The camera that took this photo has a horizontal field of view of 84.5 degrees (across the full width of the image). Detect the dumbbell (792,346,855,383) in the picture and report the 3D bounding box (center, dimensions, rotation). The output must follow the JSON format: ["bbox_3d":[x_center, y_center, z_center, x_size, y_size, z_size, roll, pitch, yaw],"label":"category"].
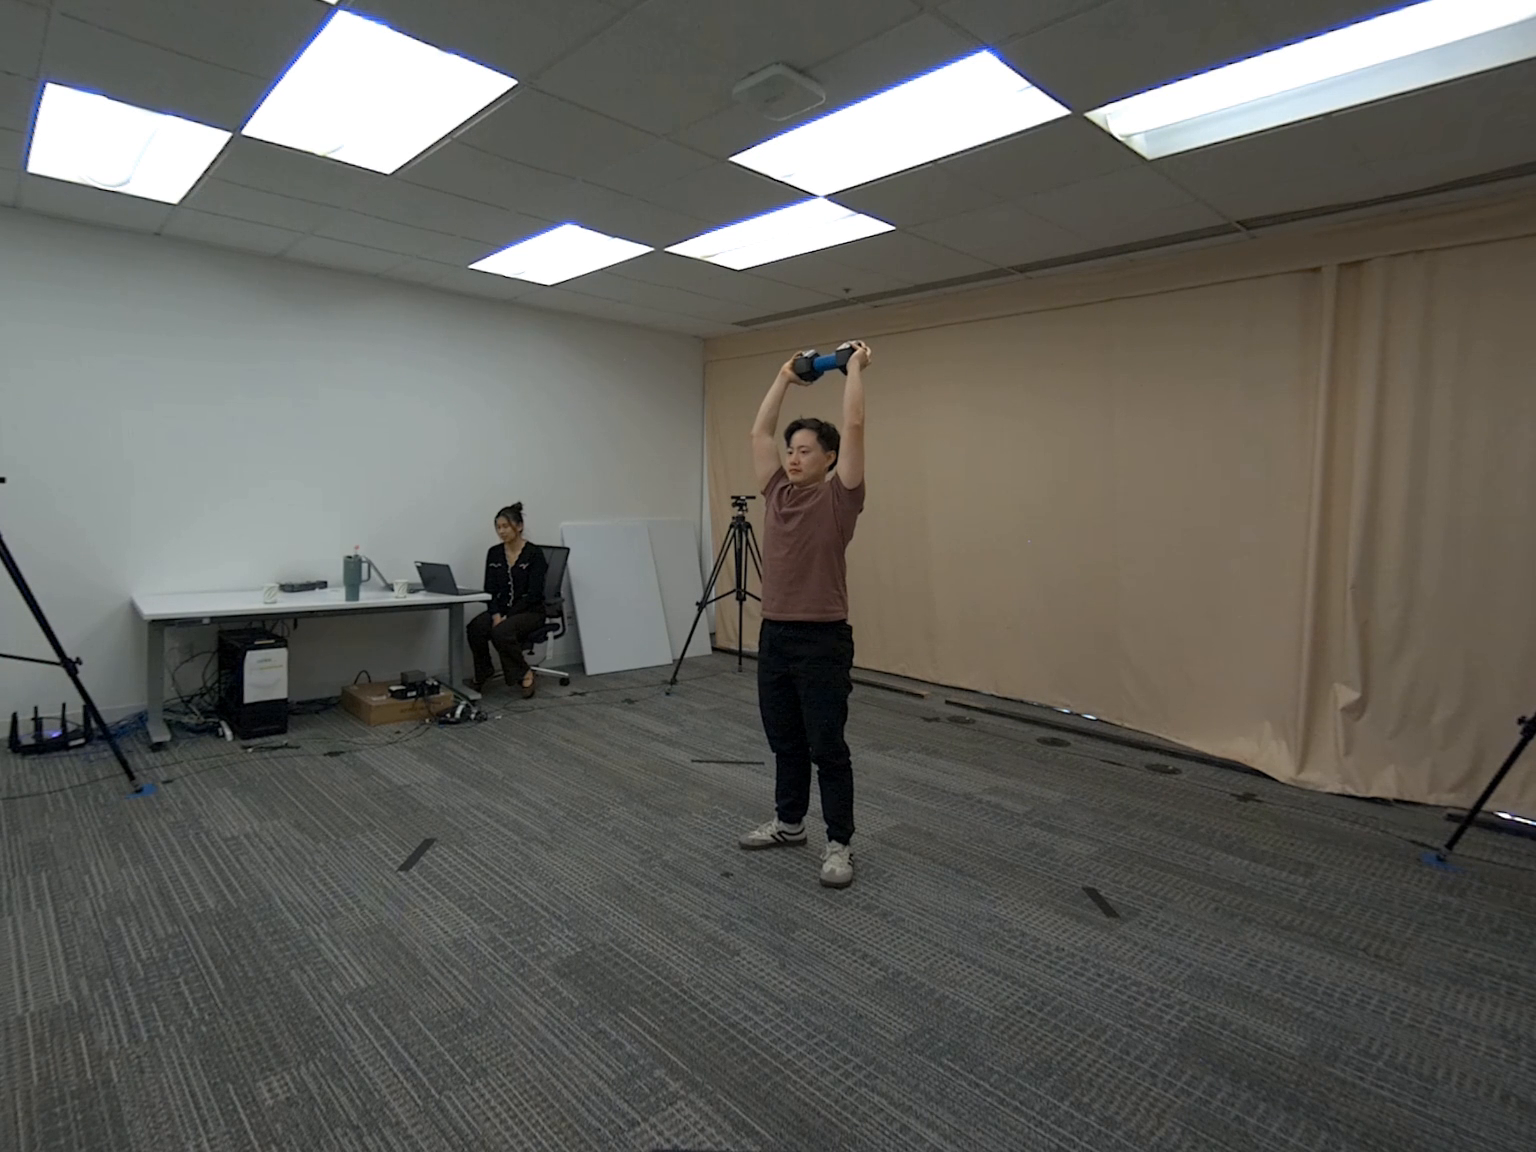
[{"bbox_3d":[0.231,-0.827,3.248,0.301,0.106,0.122,2,35,45],"label":"dumbbell"}]
